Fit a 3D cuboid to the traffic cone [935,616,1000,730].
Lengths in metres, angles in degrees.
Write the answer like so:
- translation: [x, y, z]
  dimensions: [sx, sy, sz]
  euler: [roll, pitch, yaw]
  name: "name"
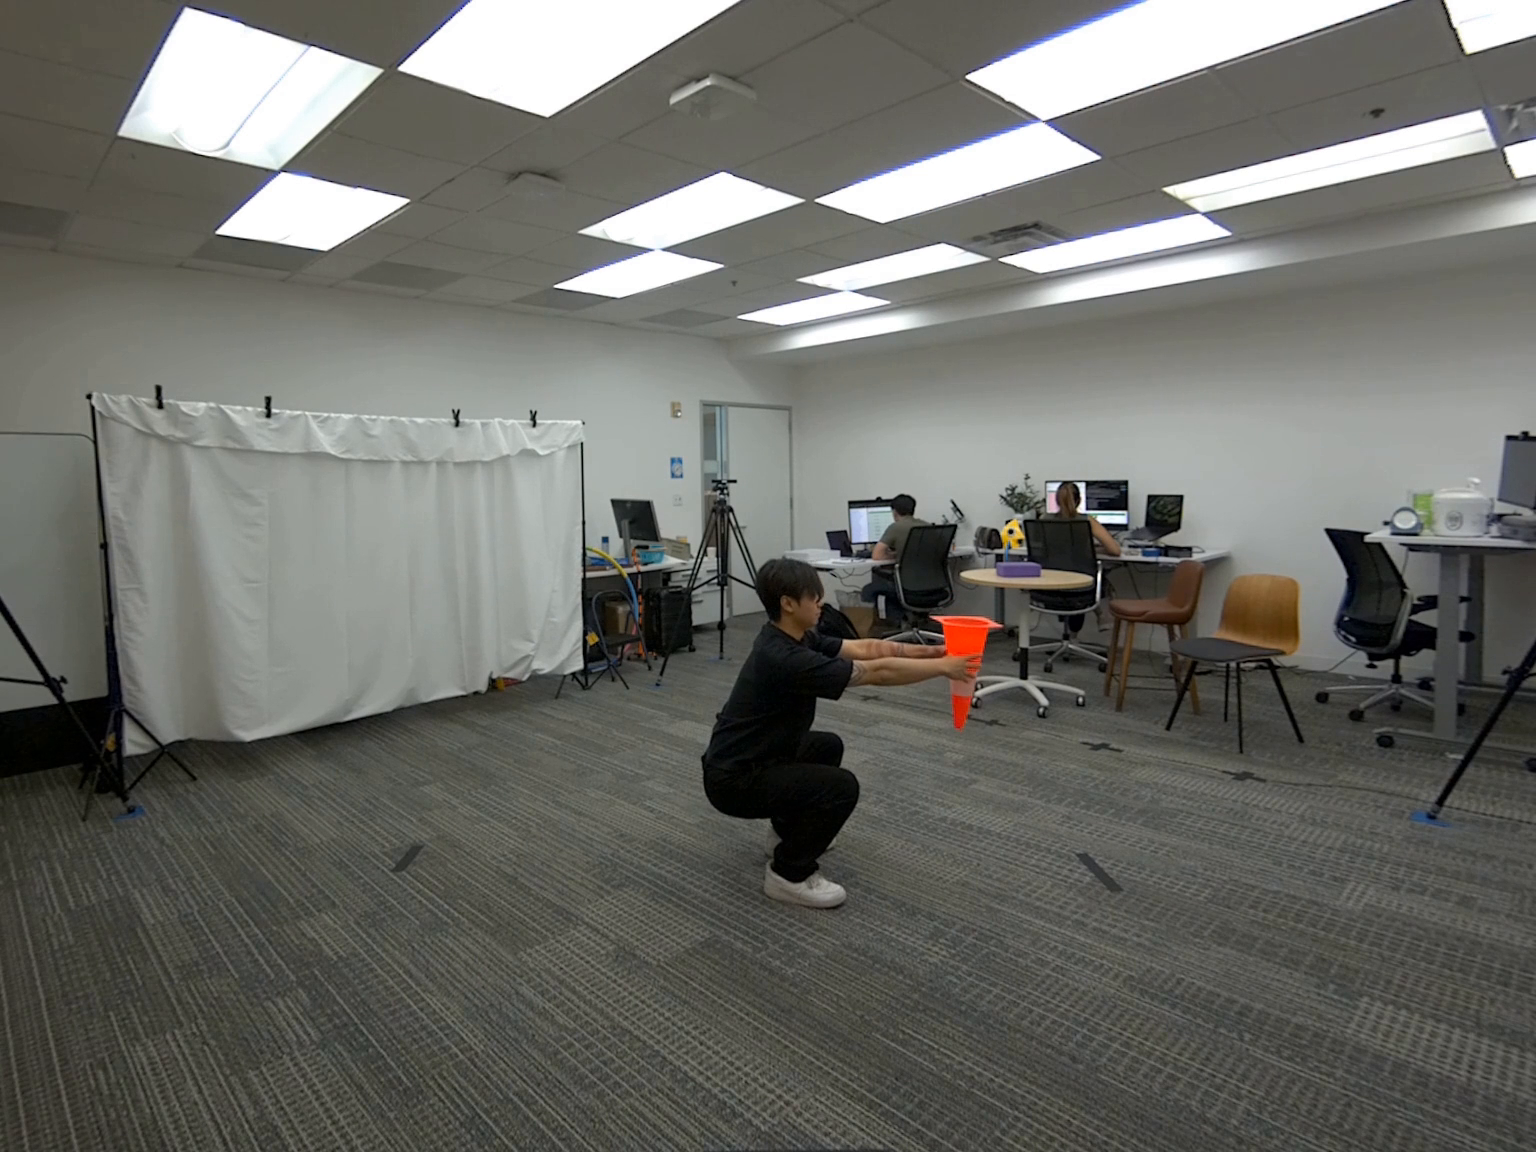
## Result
- translation: [0.681, 0.345, 2.968]
  dimensions: [0.203, 0.383, 0.206]
  euler: [1, 3, -4]
  name: "traffic cone"
